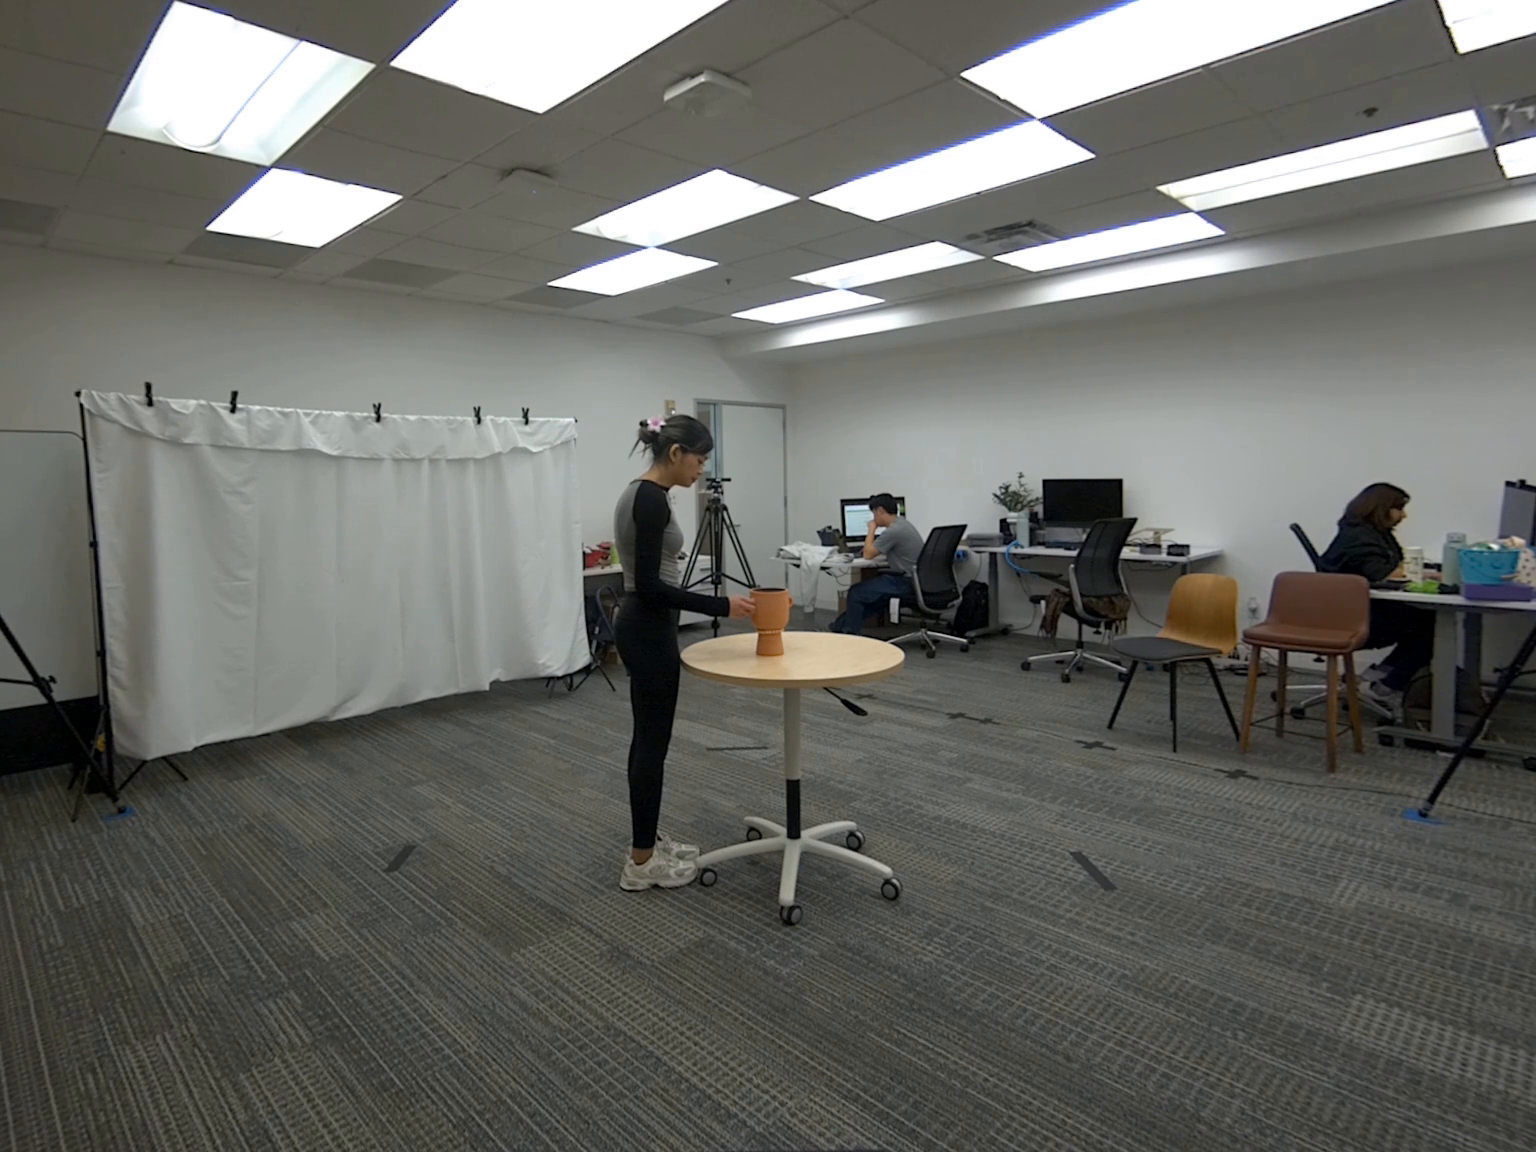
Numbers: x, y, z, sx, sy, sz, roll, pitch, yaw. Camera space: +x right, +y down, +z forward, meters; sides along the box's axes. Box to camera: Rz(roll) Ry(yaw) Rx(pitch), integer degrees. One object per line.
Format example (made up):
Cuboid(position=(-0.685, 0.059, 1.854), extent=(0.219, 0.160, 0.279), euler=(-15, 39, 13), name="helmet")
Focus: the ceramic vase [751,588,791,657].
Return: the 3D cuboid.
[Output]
Cuboid(position=(0.005, 0.155, 2.934), extent=(0.160, 0.219, 0.134), euler=(1, 5, 5), name="ceramic vase")
